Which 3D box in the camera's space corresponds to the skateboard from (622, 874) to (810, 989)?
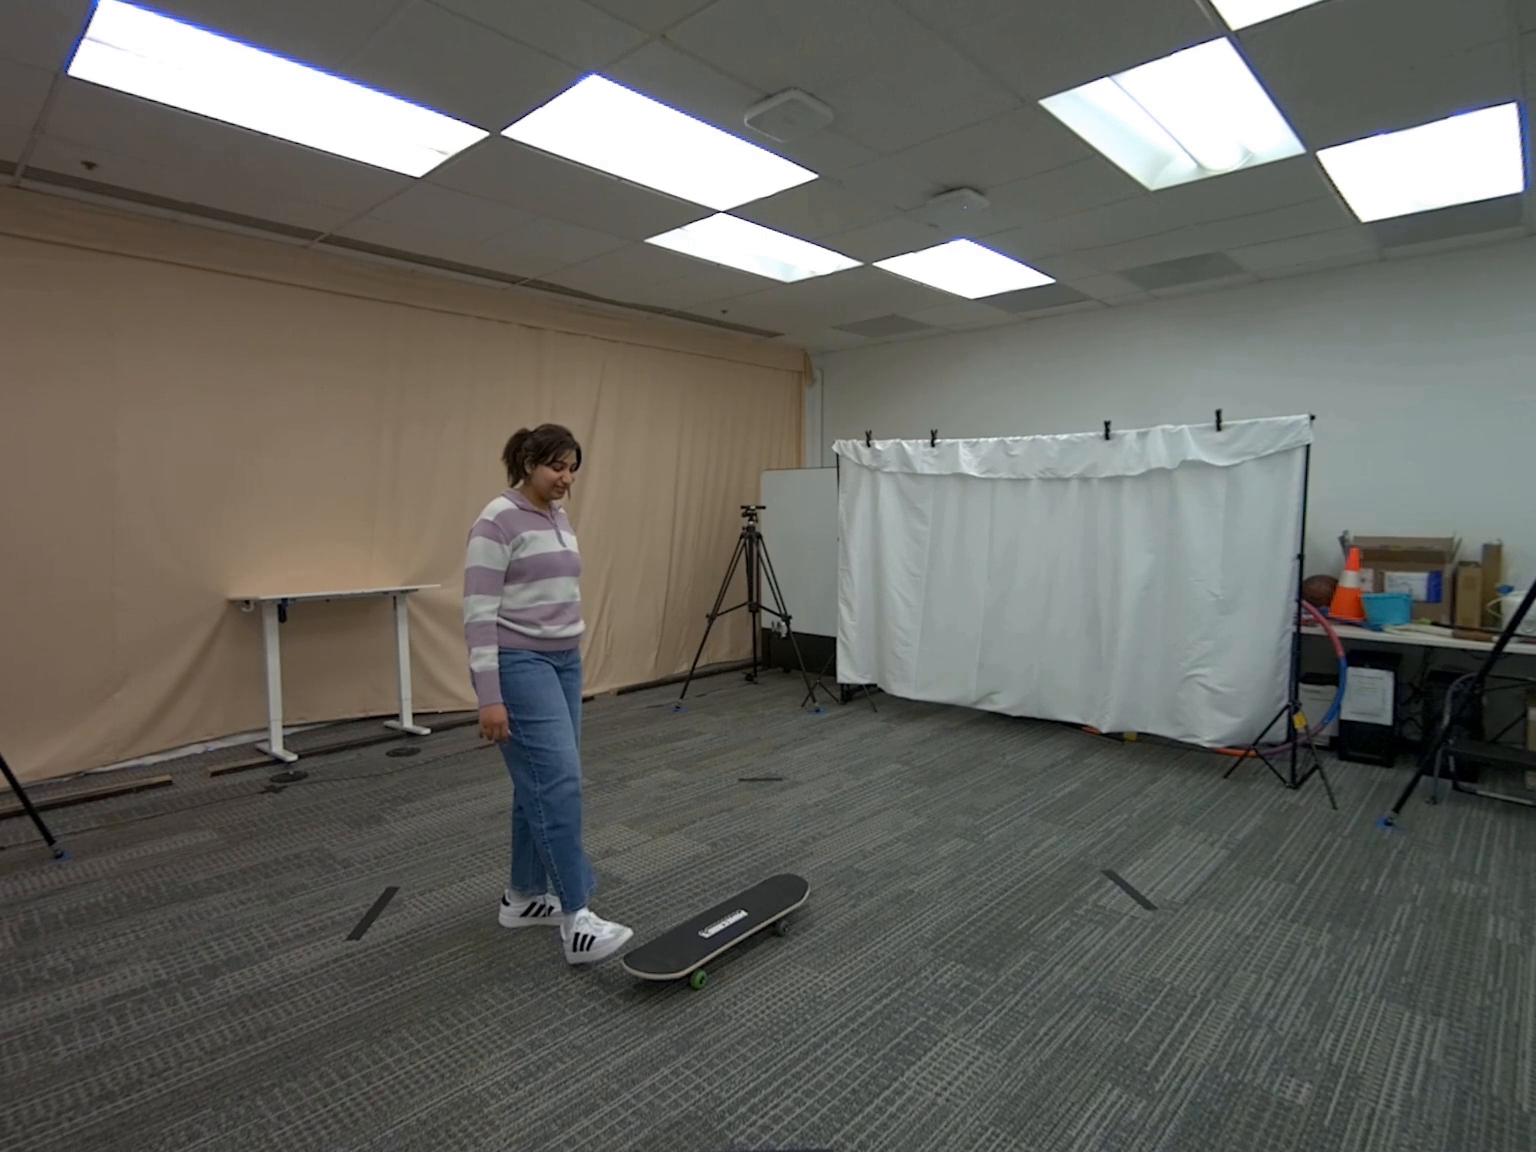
[{"bbox_3d":[-0.139,1.121,2.624,0.200,0.110,0.762,3,6,40],"label":"skateboard"}]
